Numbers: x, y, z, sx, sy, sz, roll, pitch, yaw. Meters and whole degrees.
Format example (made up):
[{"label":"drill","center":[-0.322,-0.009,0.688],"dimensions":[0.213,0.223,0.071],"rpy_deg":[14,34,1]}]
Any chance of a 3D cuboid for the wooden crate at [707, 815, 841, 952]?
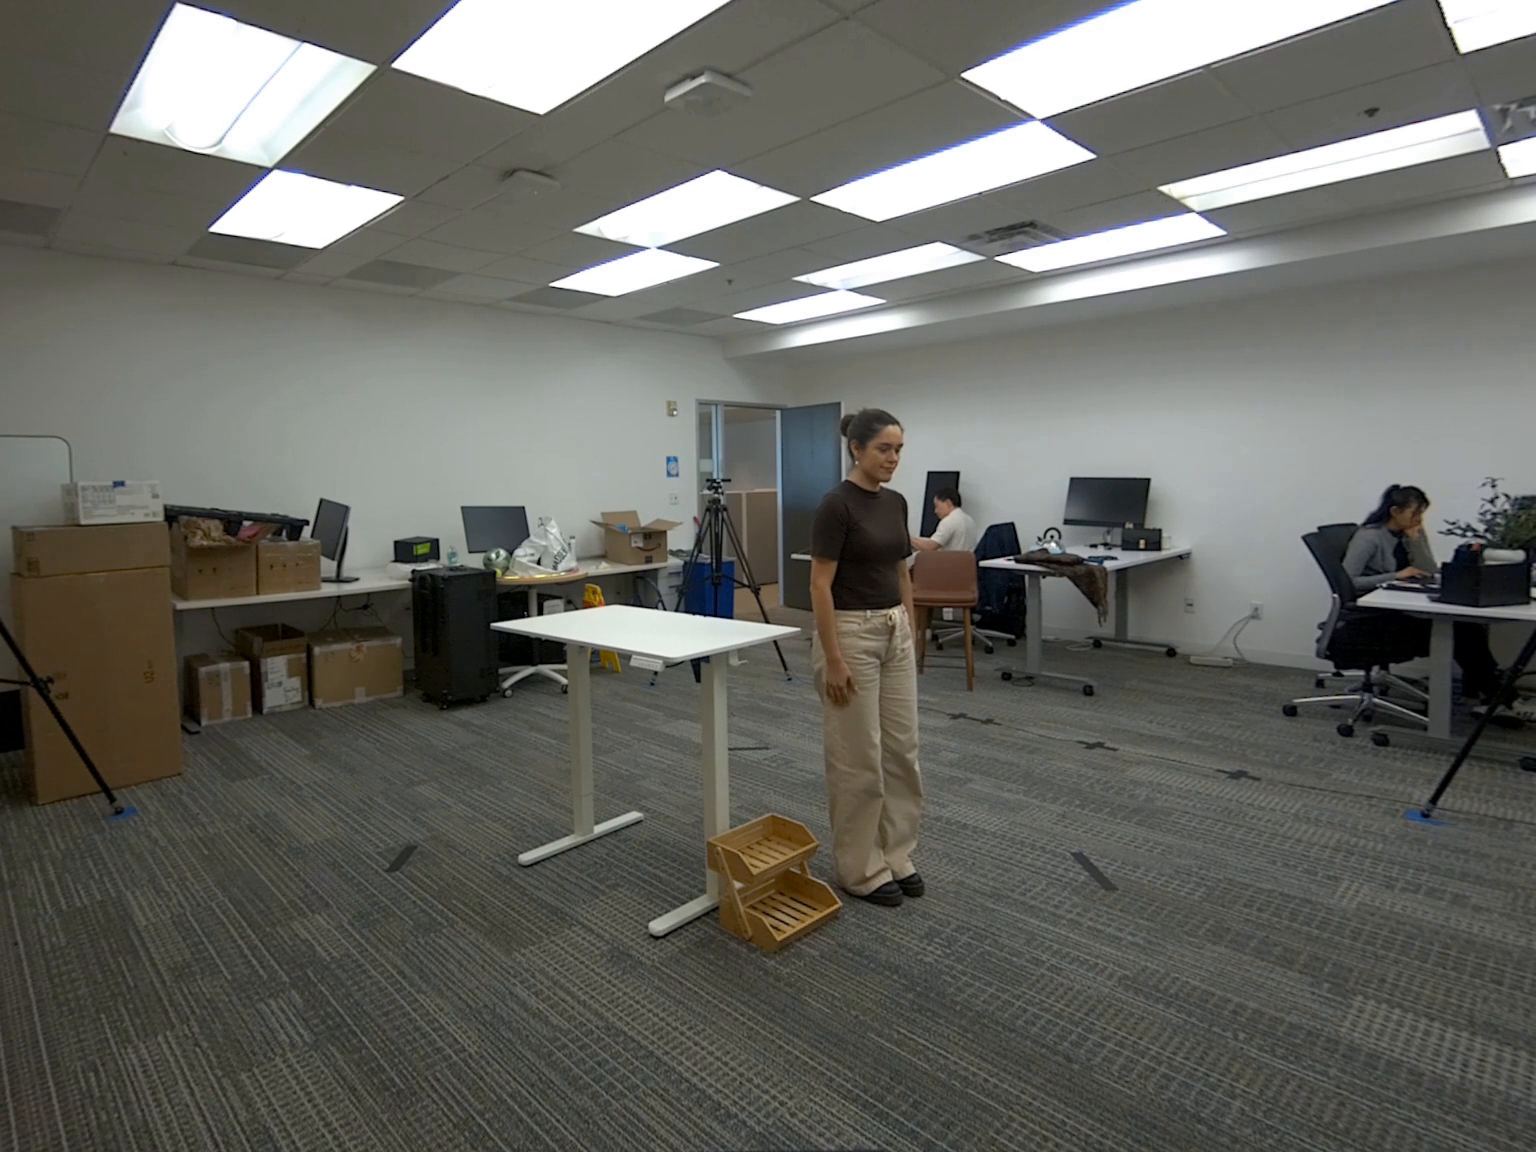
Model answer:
[{"label":"wooden crate","center":[0.027,0.957,2.701],"dimensions":[0.311,0.272,0.316],"rpy_deg":[4,7,44]}]
